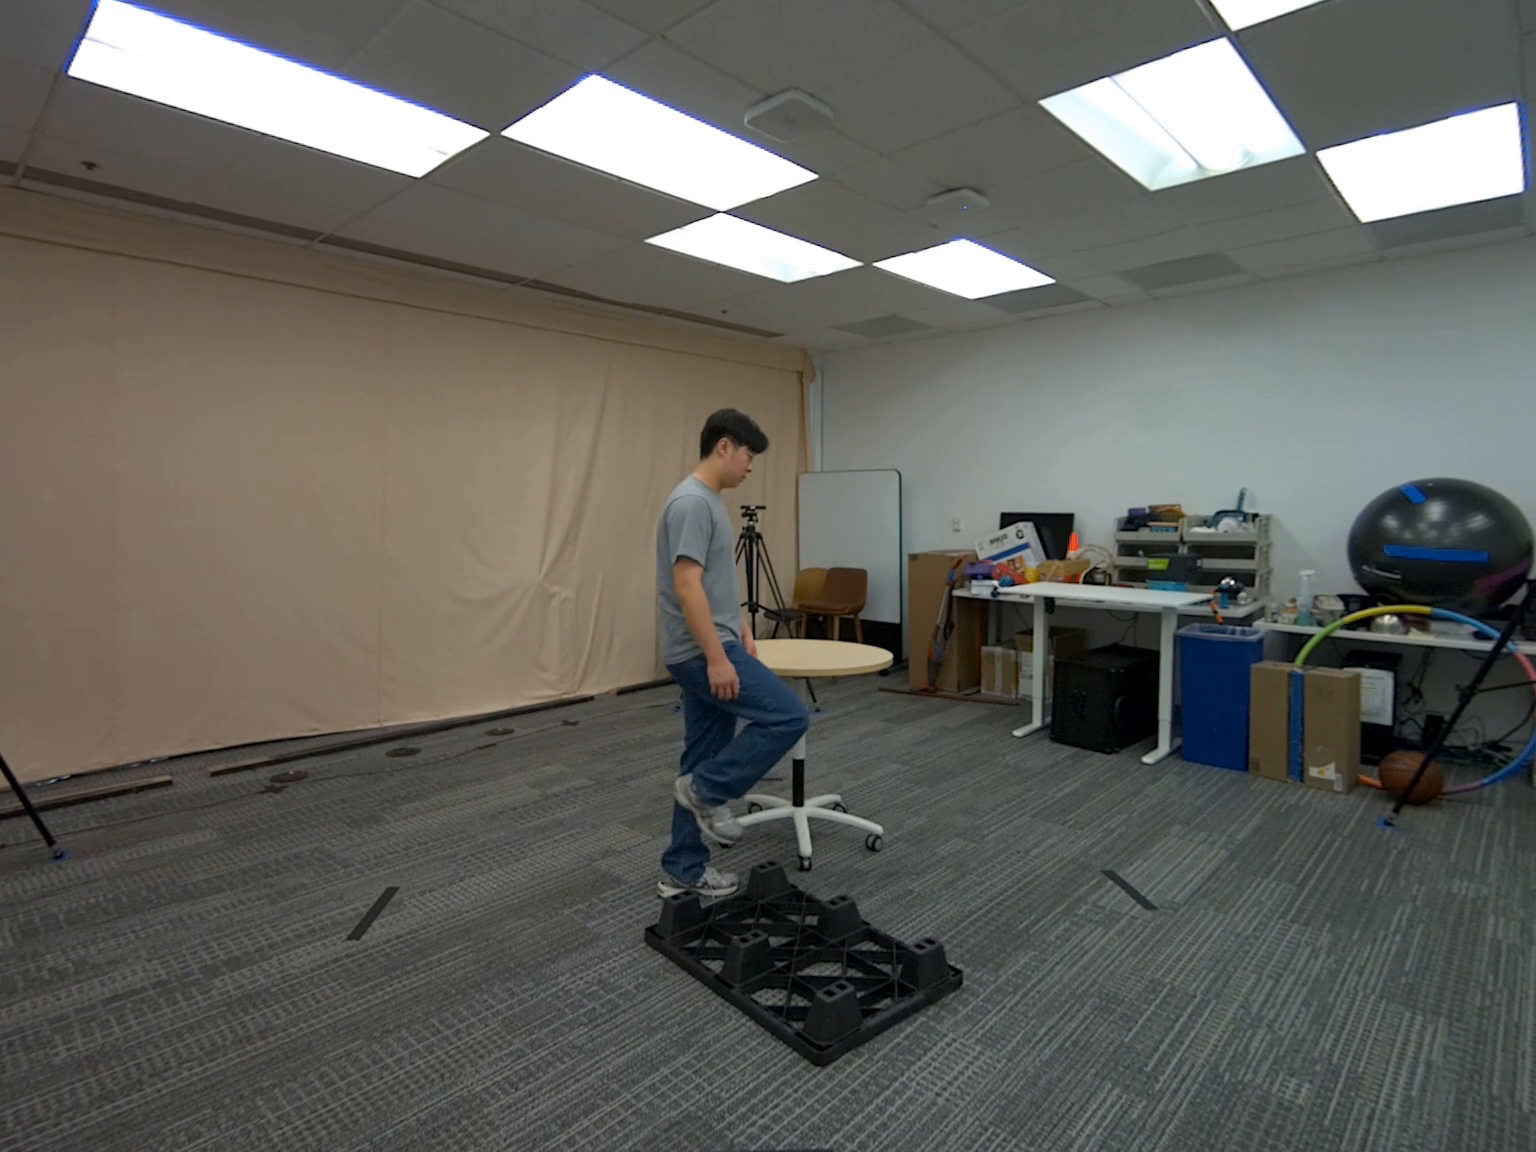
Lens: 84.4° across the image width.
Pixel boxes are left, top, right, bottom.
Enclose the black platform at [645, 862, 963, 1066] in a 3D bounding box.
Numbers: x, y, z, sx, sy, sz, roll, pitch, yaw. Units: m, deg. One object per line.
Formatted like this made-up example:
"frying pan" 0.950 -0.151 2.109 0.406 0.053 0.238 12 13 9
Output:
"black platform" 0.096 1.112 2.568 0.587 0.143 0.832 -5 7 -40
